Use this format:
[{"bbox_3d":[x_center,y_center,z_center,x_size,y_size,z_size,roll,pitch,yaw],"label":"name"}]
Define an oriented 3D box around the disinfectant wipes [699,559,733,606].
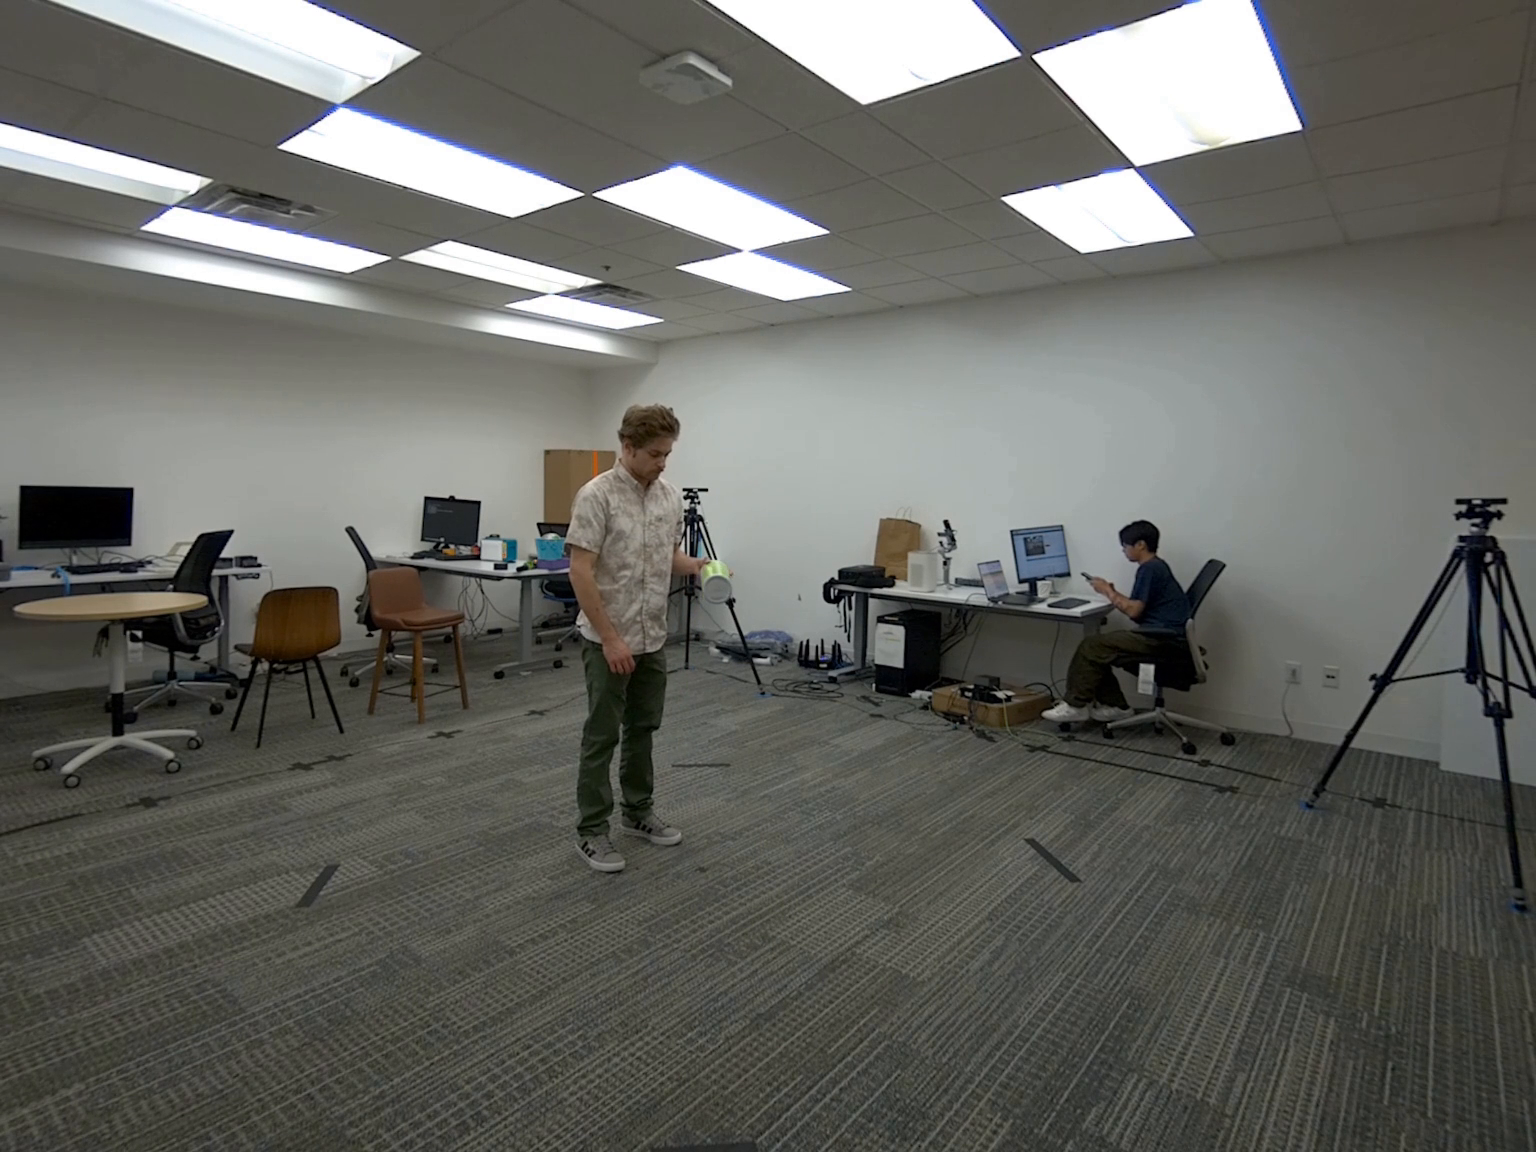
[{"bbox_3d":[-0.202,0.020,3.073,0.117,0.116,0.221,0,13,-5],"label":"disinfectant wipes"}]
